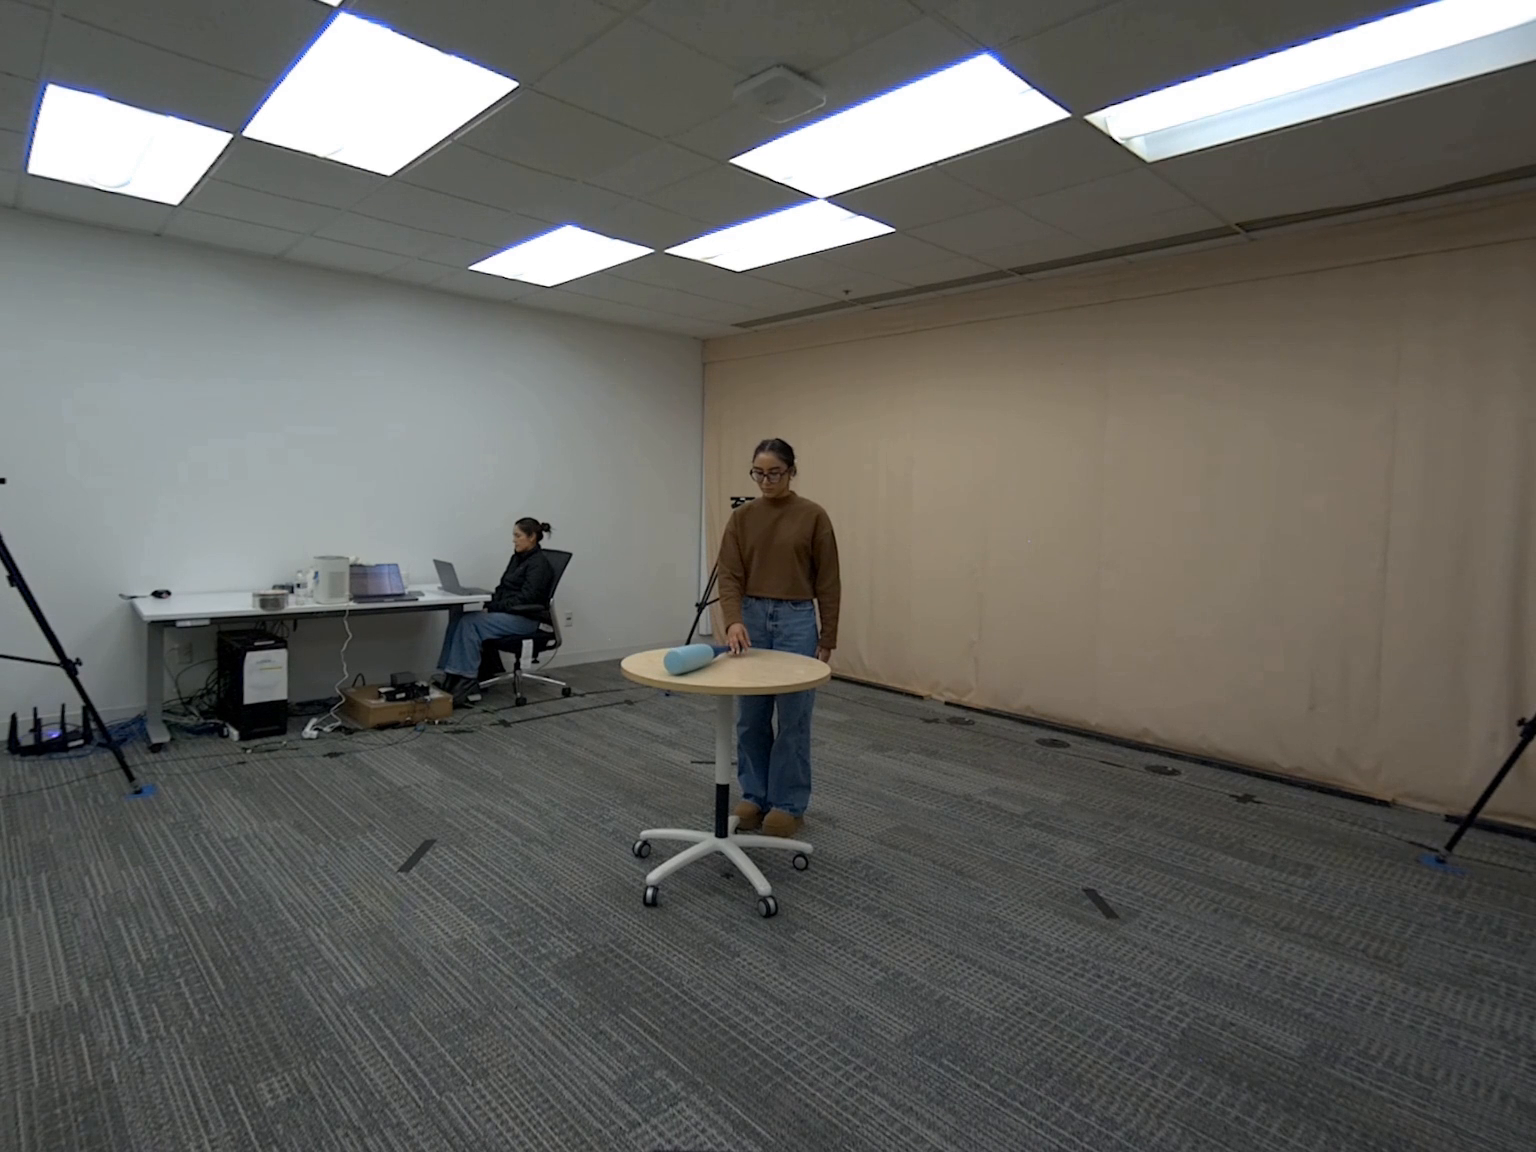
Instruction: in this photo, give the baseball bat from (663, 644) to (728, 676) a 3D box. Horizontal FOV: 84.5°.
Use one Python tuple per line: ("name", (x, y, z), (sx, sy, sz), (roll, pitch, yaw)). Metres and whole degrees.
("baseball bat", (-0.228, 0.290, 3.083), (0.090, 0.089, 0.534), (3, 2, 21))
